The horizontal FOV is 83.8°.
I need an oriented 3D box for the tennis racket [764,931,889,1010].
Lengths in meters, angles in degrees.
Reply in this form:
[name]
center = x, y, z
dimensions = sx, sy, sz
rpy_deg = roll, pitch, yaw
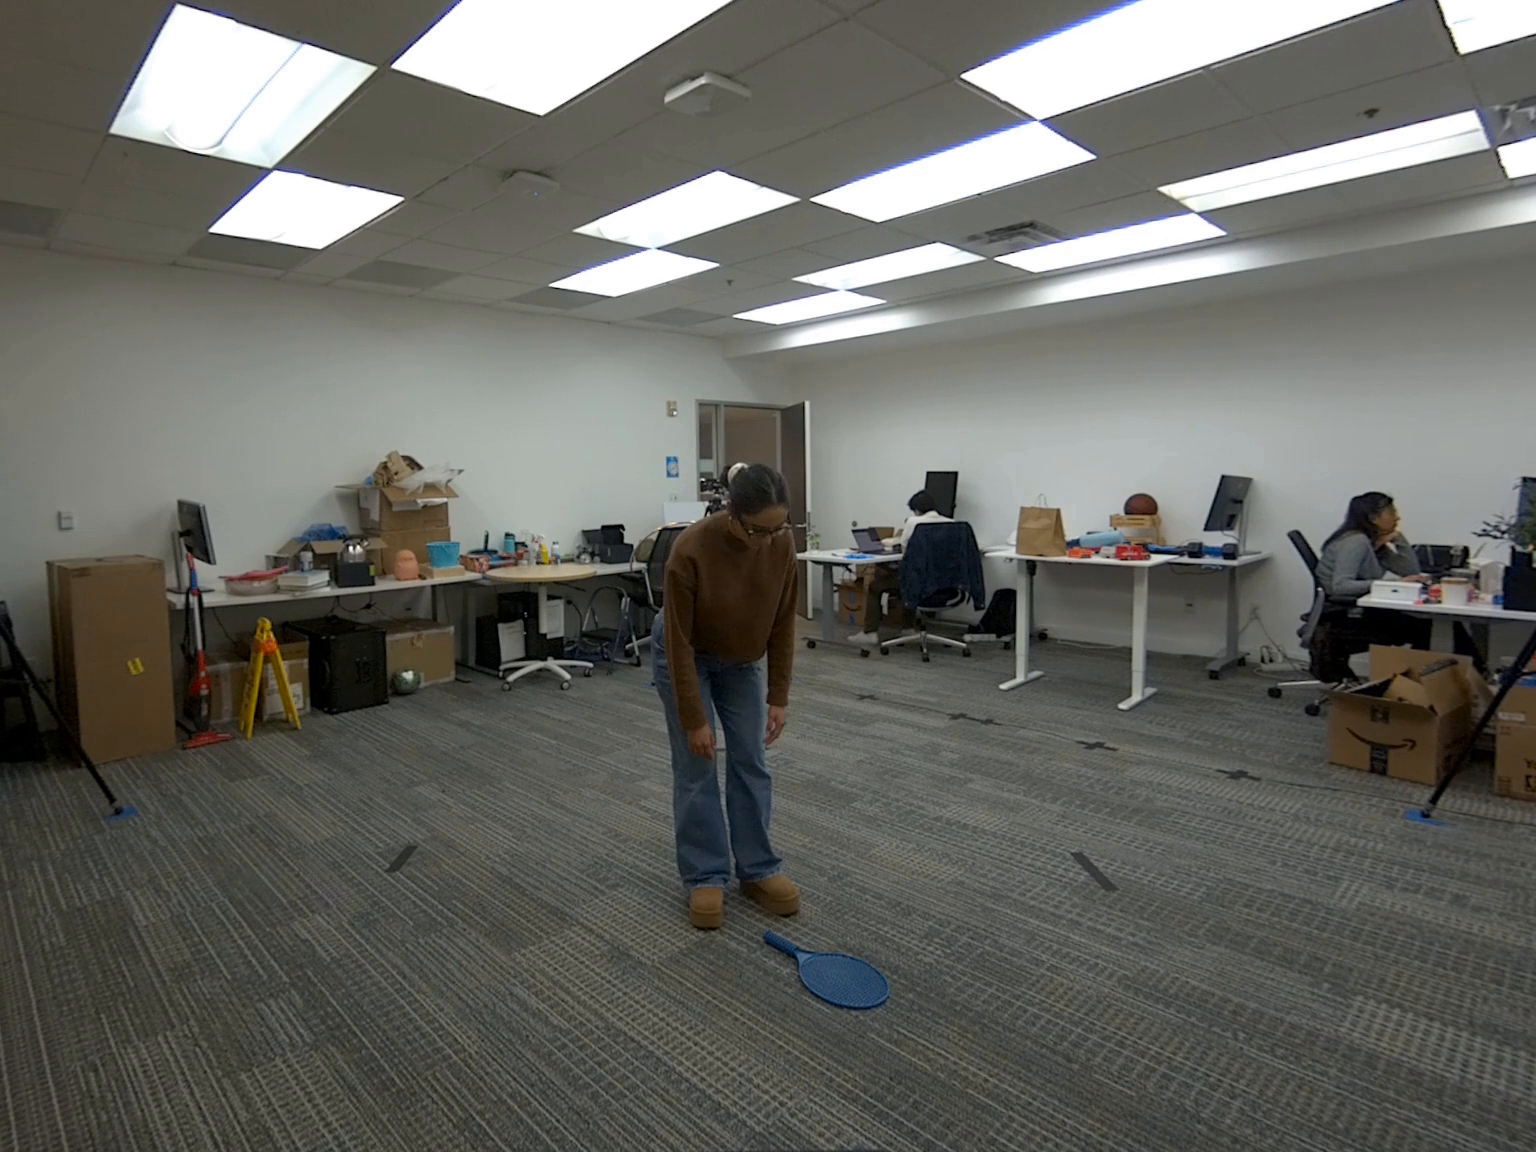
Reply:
[tennis racket]
center = 0.159, 1.108, 2.425
dimensions = 0.208, 0.031, 0.447
rpy_deg = -6, 9, -42
